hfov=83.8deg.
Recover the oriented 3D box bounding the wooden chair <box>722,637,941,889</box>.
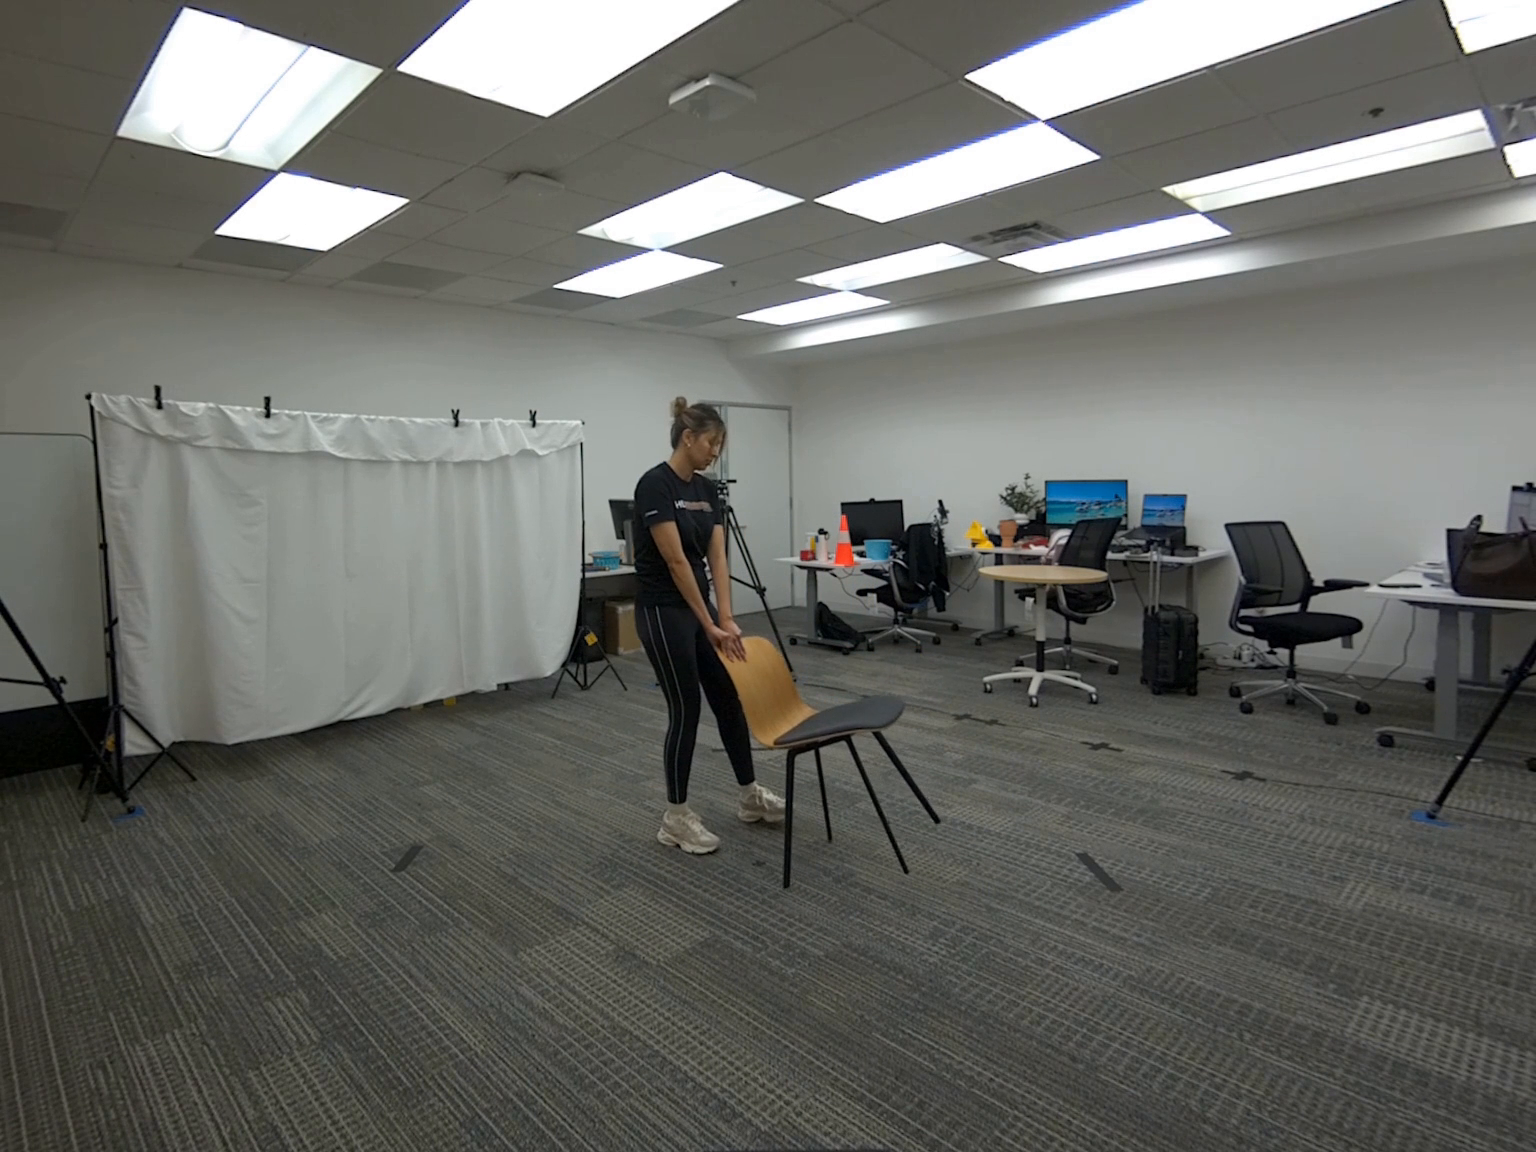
[{"bbox_3d":[0.224,0.575,3.036,0.530,0.885,0.468,-23,-7,27],"label":"wooden chair"}]
